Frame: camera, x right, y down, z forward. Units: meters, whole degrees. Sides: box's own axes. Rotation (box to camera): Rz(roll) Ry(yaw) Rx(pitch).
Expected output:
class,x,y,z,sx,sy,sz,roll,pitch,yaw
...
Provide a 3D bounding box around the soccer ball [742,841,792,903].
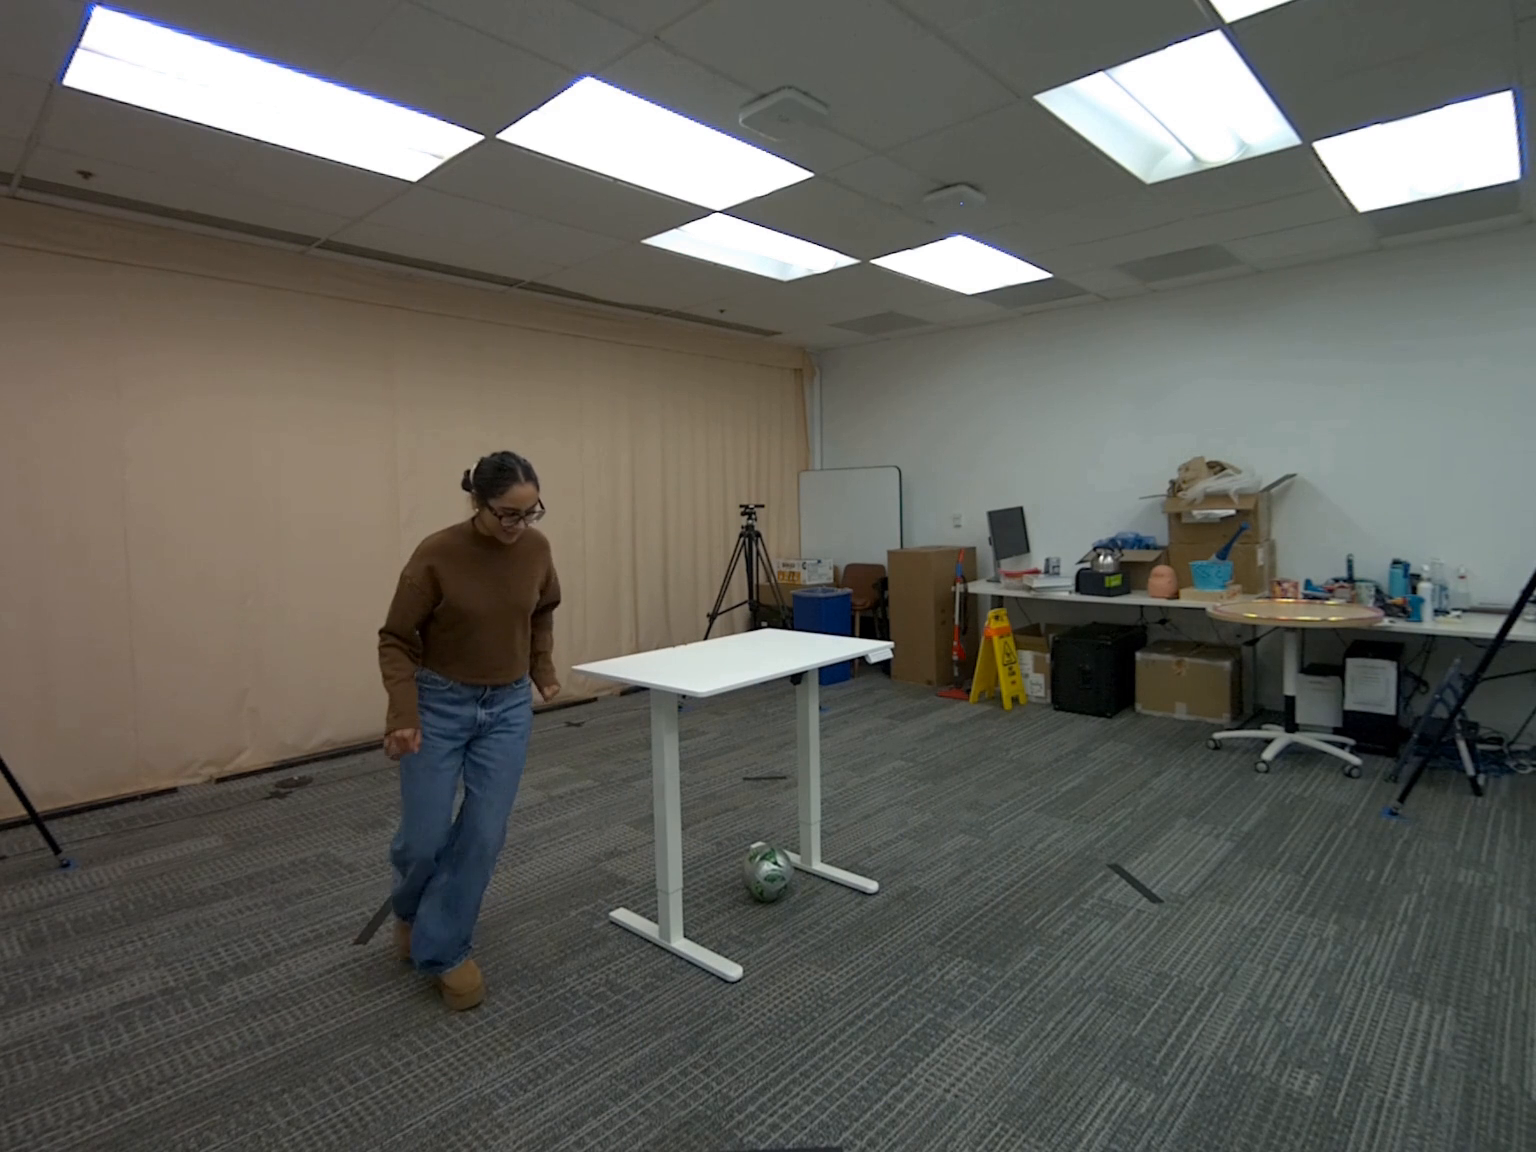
class,x,y,z,sx,sy,sz,roll,pitch,yaw
soccer ball,0.001,1.045,2.969,0.187,0.187,0.188,-1,4,-2
